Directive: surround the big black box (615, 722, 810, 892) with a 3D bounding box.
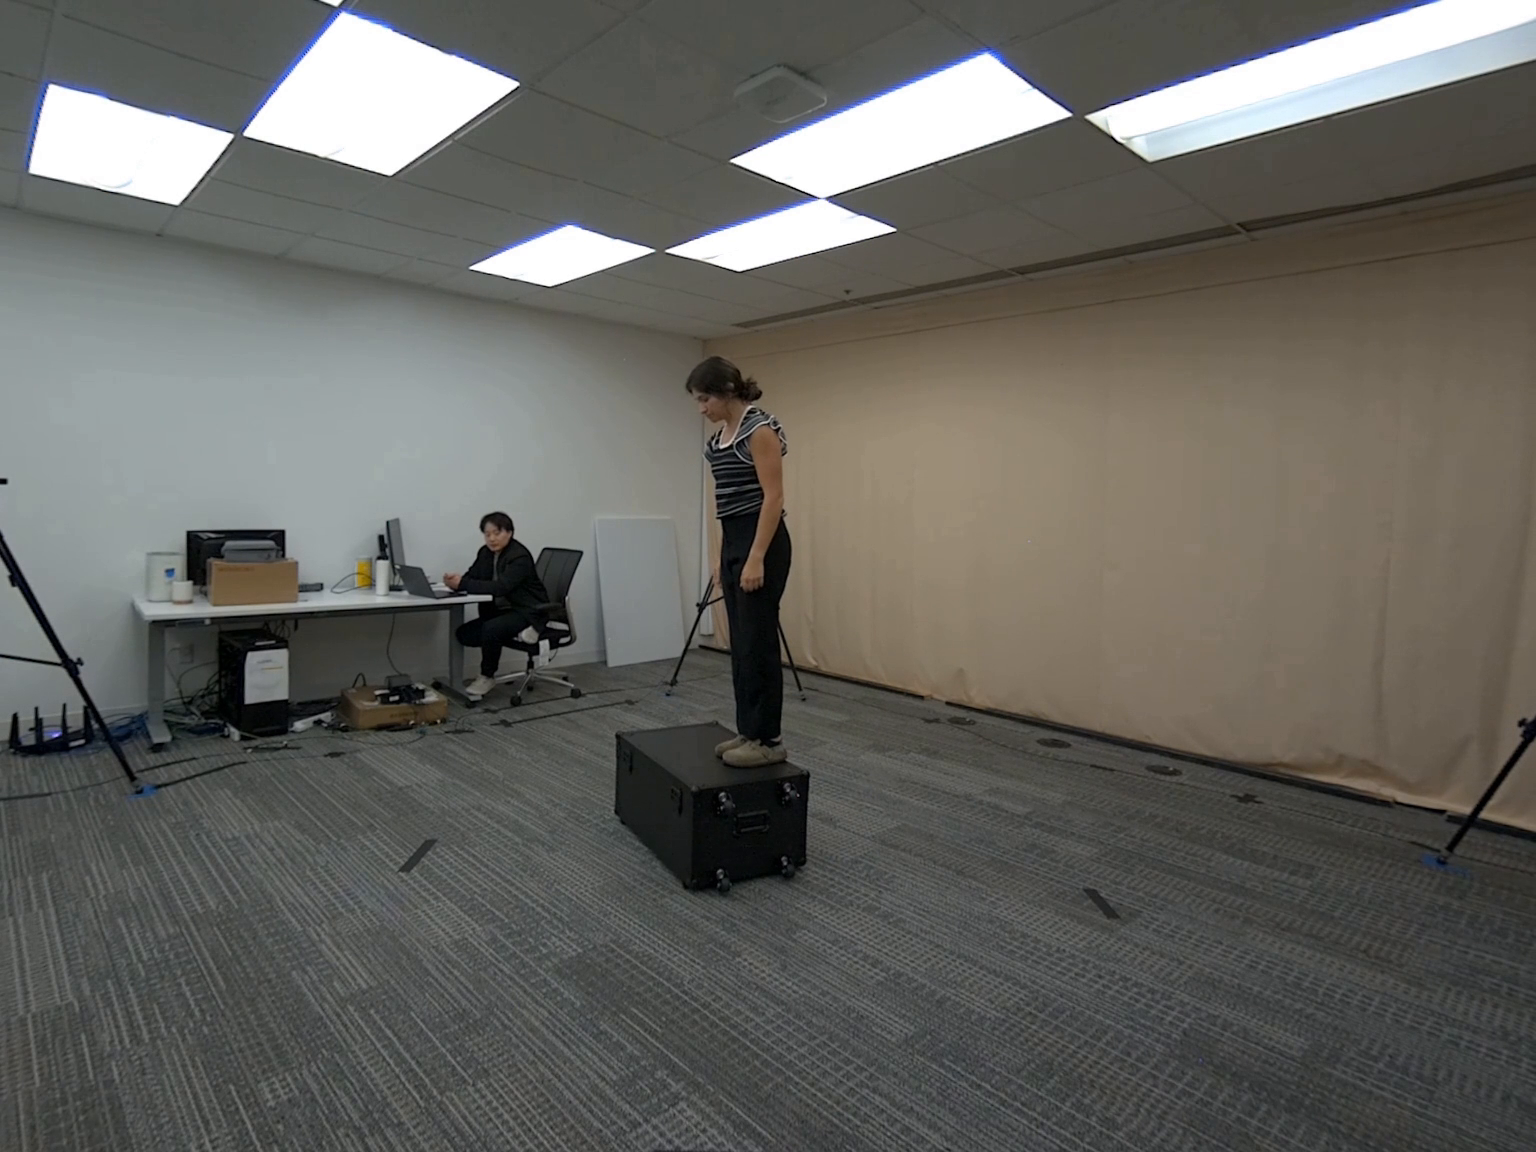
[{"bbox_3d":[-0.245,0.893,3.357,0.511,0.395,0.881,-1,5,-29],"label":"big black box"}]
